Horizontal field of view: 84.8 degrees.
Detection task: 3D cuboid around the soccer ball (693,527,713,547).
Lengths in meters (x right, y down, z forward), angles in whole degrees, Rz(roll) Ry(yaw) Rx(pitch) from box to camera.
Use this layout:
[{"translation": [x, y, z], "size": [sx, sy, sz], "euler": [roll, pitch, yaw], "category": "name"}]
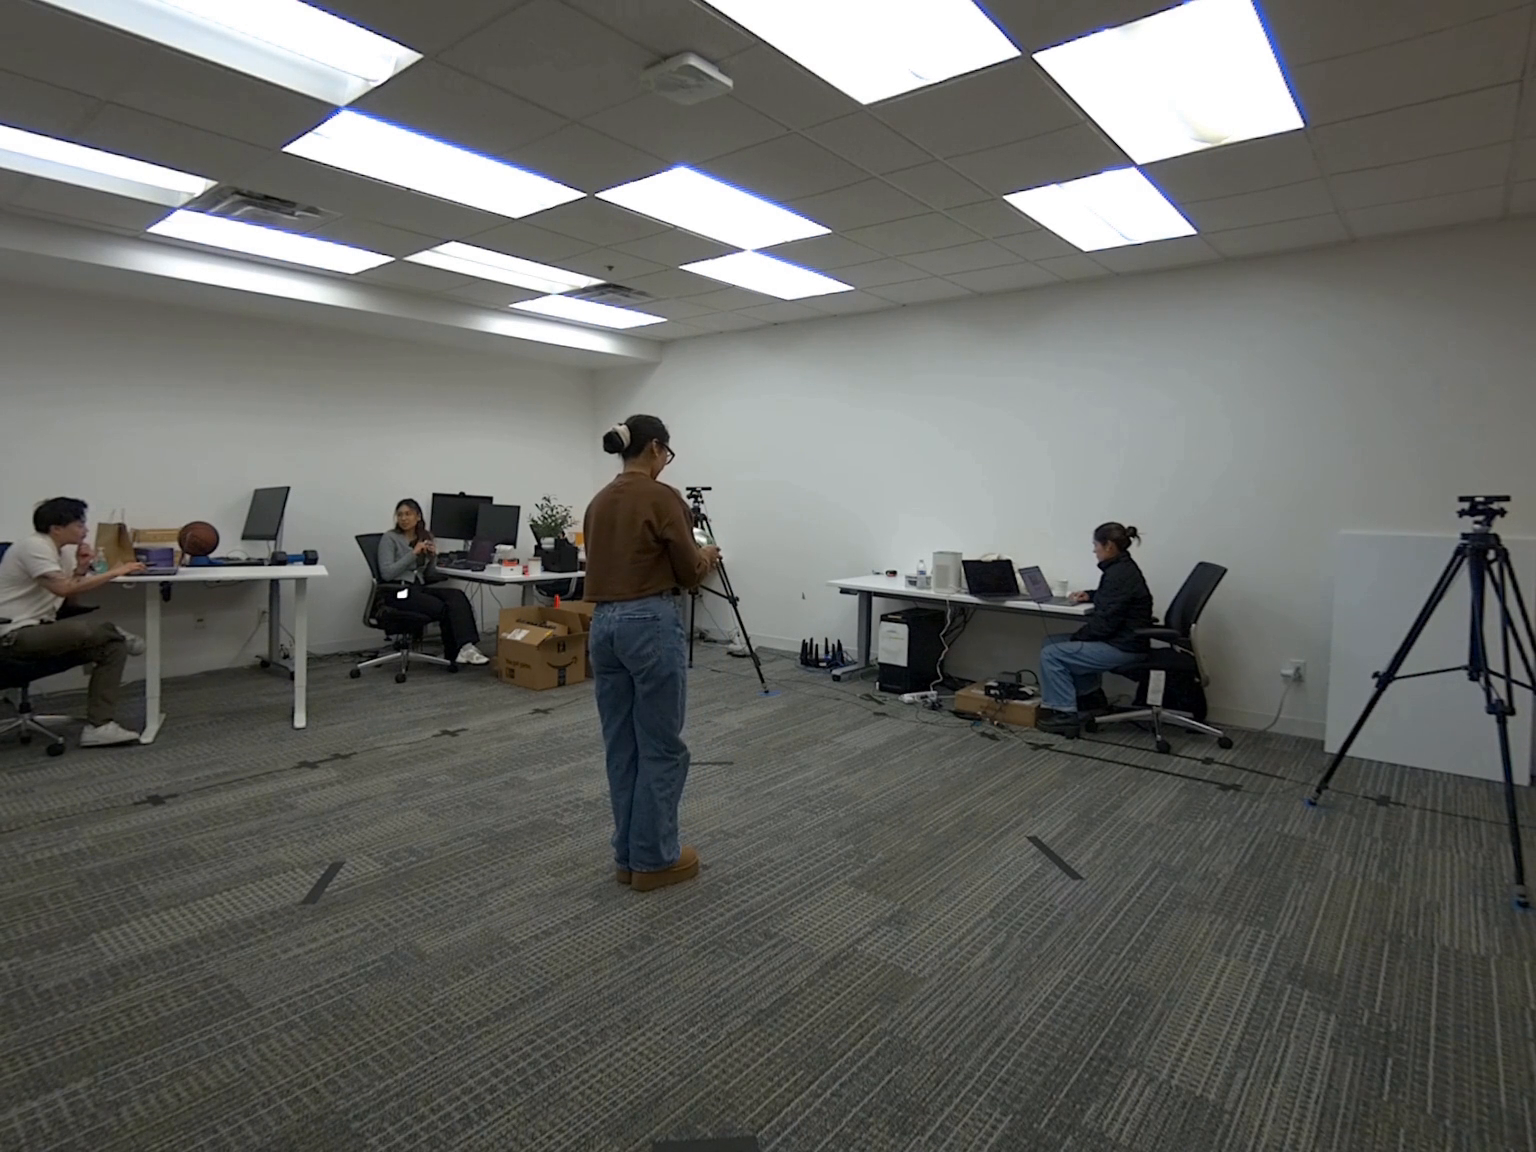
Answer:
[{"translation": [-0.298, -0.102, 3.292], "size": [0.187, 0.187, 0.188], "euler": [1, 4, -2], "category": "soccer ball"}]
